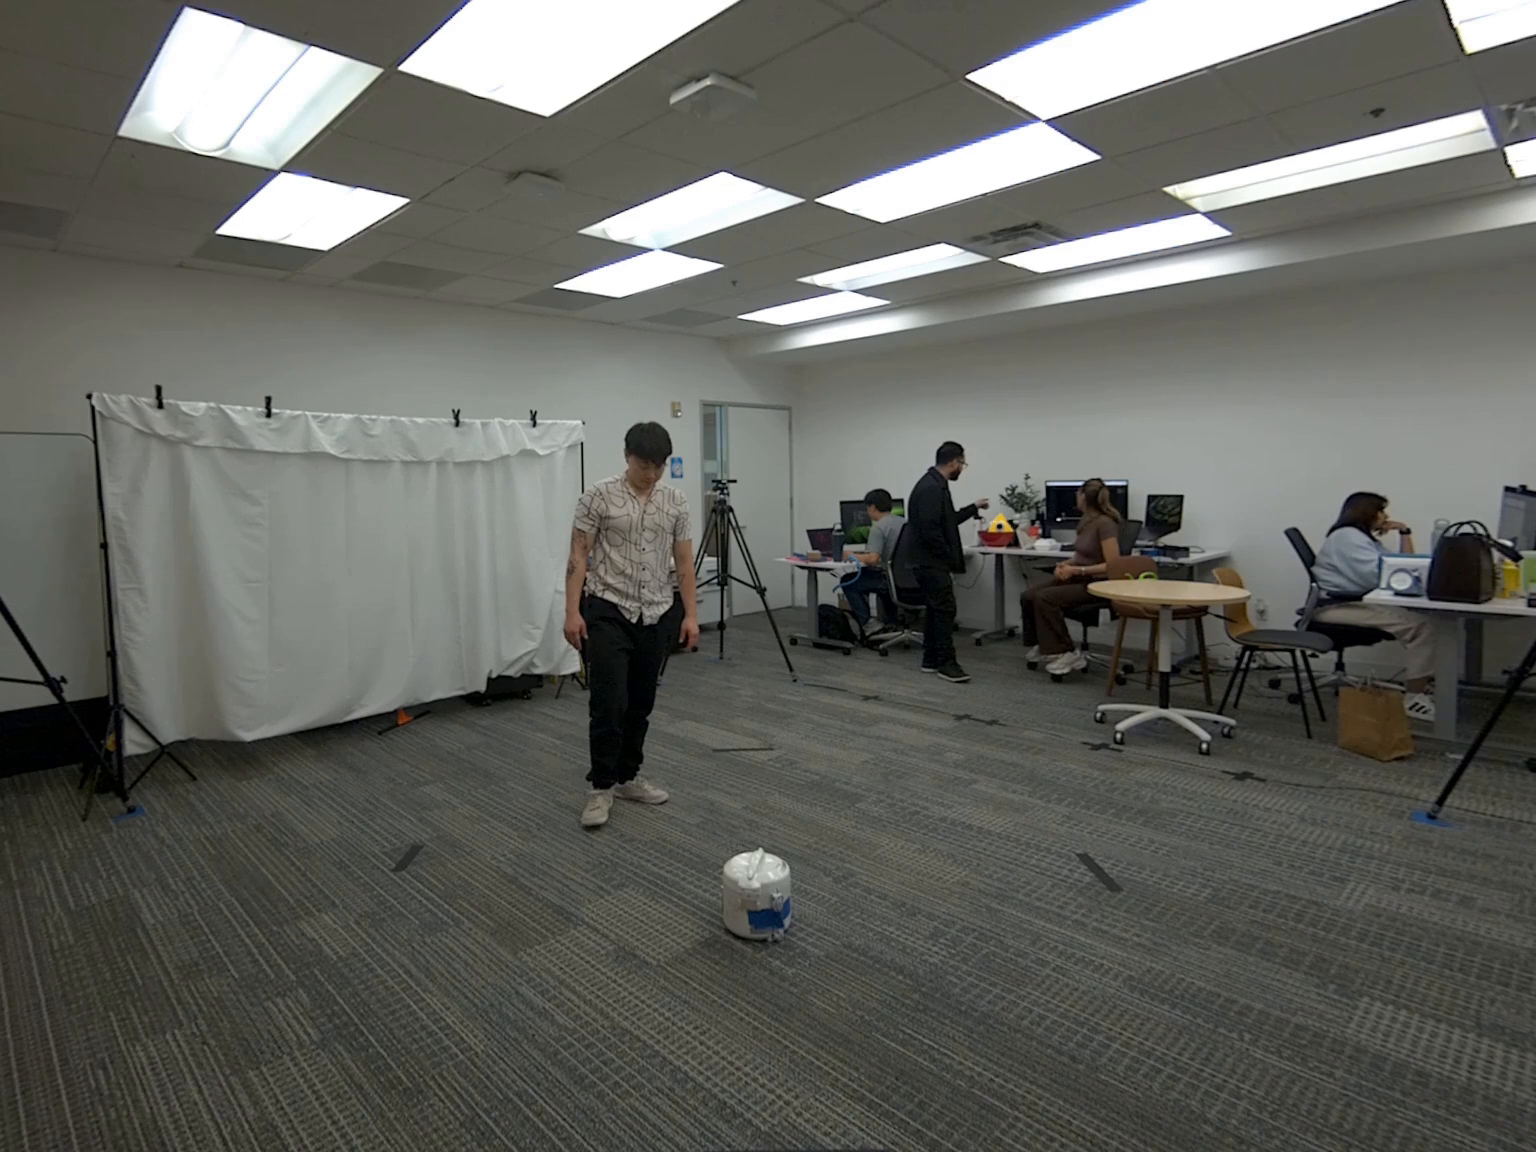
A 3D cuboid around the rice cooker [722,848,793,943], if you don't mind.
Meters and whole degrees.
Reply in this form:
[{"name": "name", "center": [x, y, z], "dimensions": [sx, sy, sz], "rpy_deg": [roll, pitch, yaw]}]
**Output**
[{"name": "rice cooker", "center": [-0.034, 0.980, 2.665], "dimensions": [0.220, 0.232, 0.218], "rpy_deg": [1, 5, 14]}]
